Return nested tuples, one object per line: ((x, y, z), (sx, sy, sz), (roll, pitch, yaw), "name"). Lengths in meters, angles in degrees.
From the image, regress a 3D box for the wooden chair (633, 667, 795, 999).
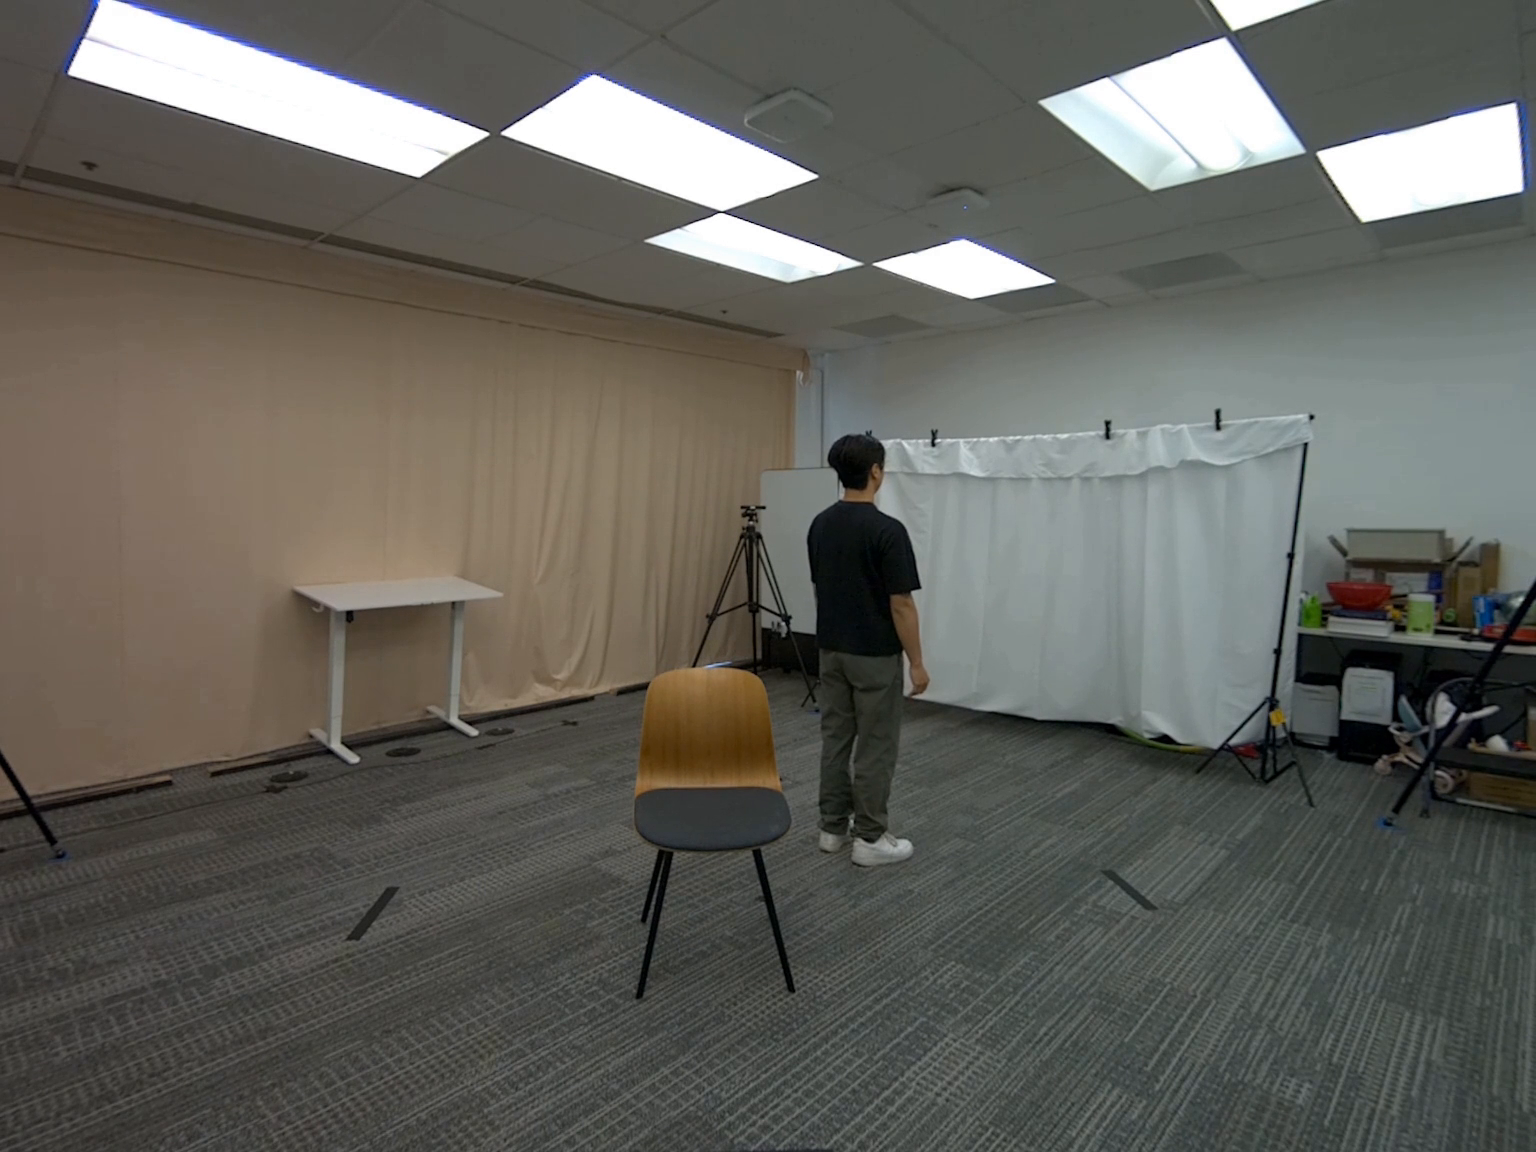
((-0.165, 0.752, 2.580), (0.475, 0.878, 0.526), (0, 0, -6), "wooden chair")
